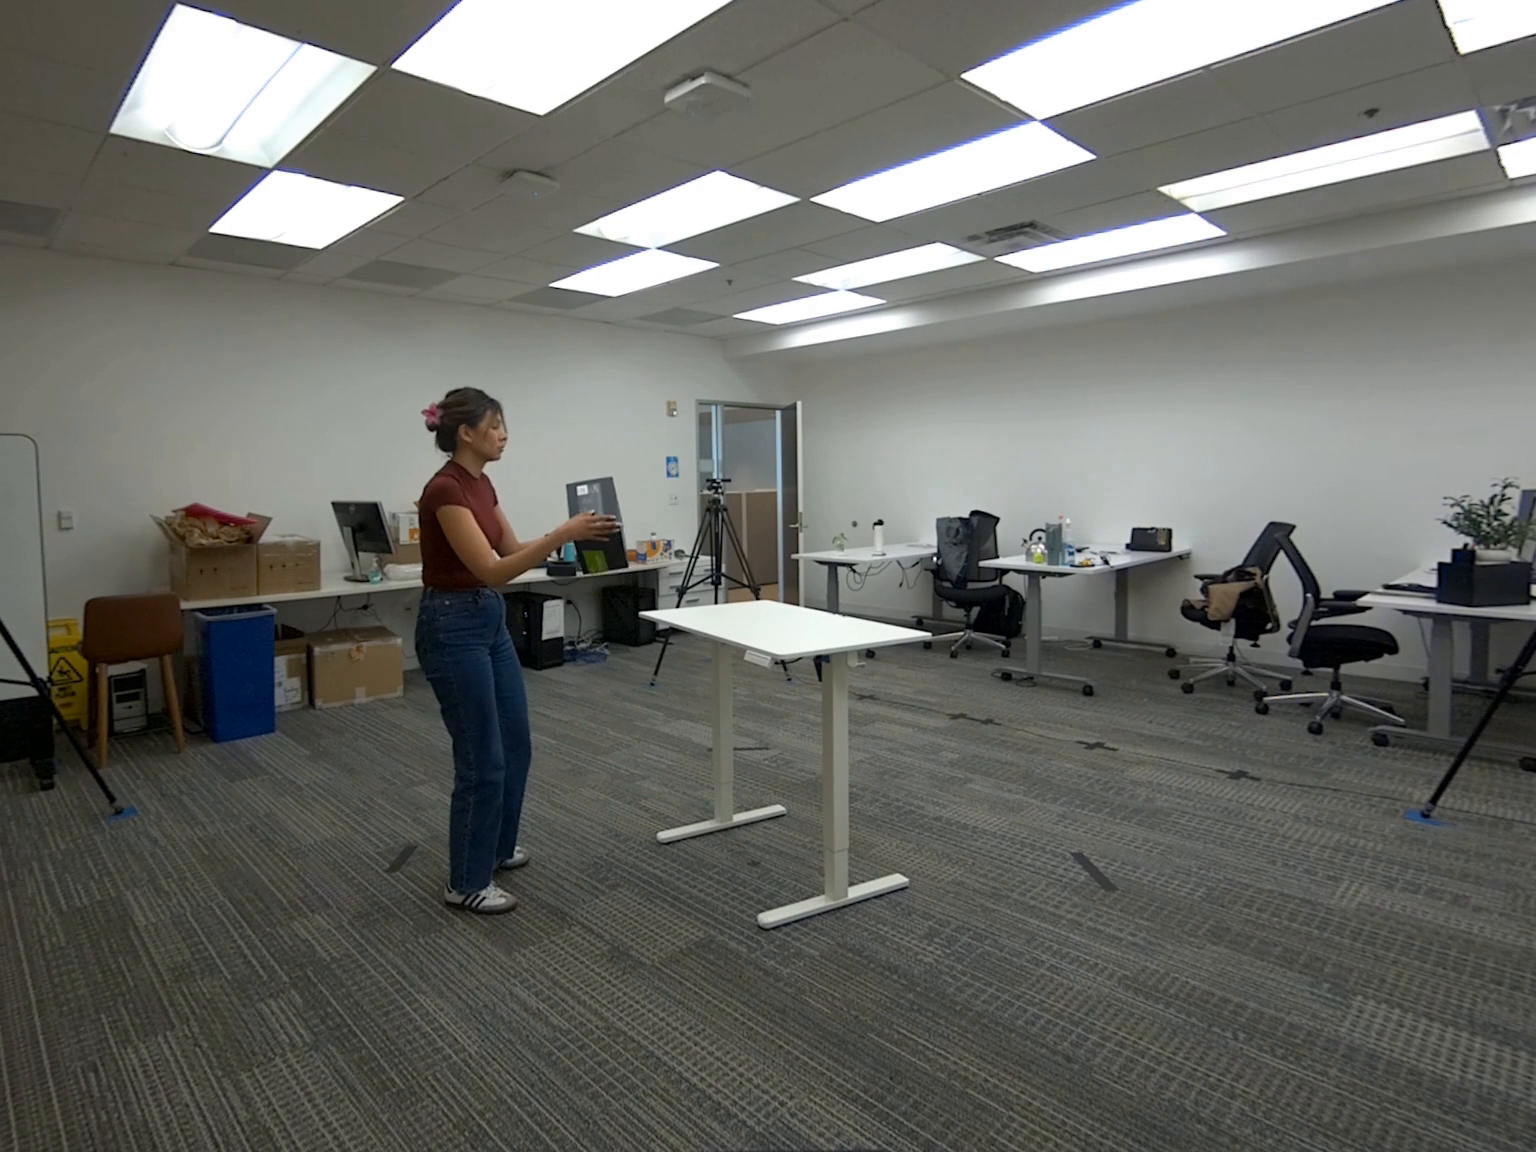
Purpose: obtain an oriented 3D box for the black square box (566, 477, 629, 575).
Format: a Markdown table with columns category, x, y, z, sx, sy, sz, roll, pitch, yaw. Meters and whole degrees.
| category | x | y | z | sx | sy | sz | roll | pitch | yaw |
| --- | --- | --- | --- | --- | --- | --- | --- | --- | --- |
| black square box | -0.567 | -0.157 | 2.833 | 0.155 | 0.224 | 0.221 | -11 | -40 | -7 |
